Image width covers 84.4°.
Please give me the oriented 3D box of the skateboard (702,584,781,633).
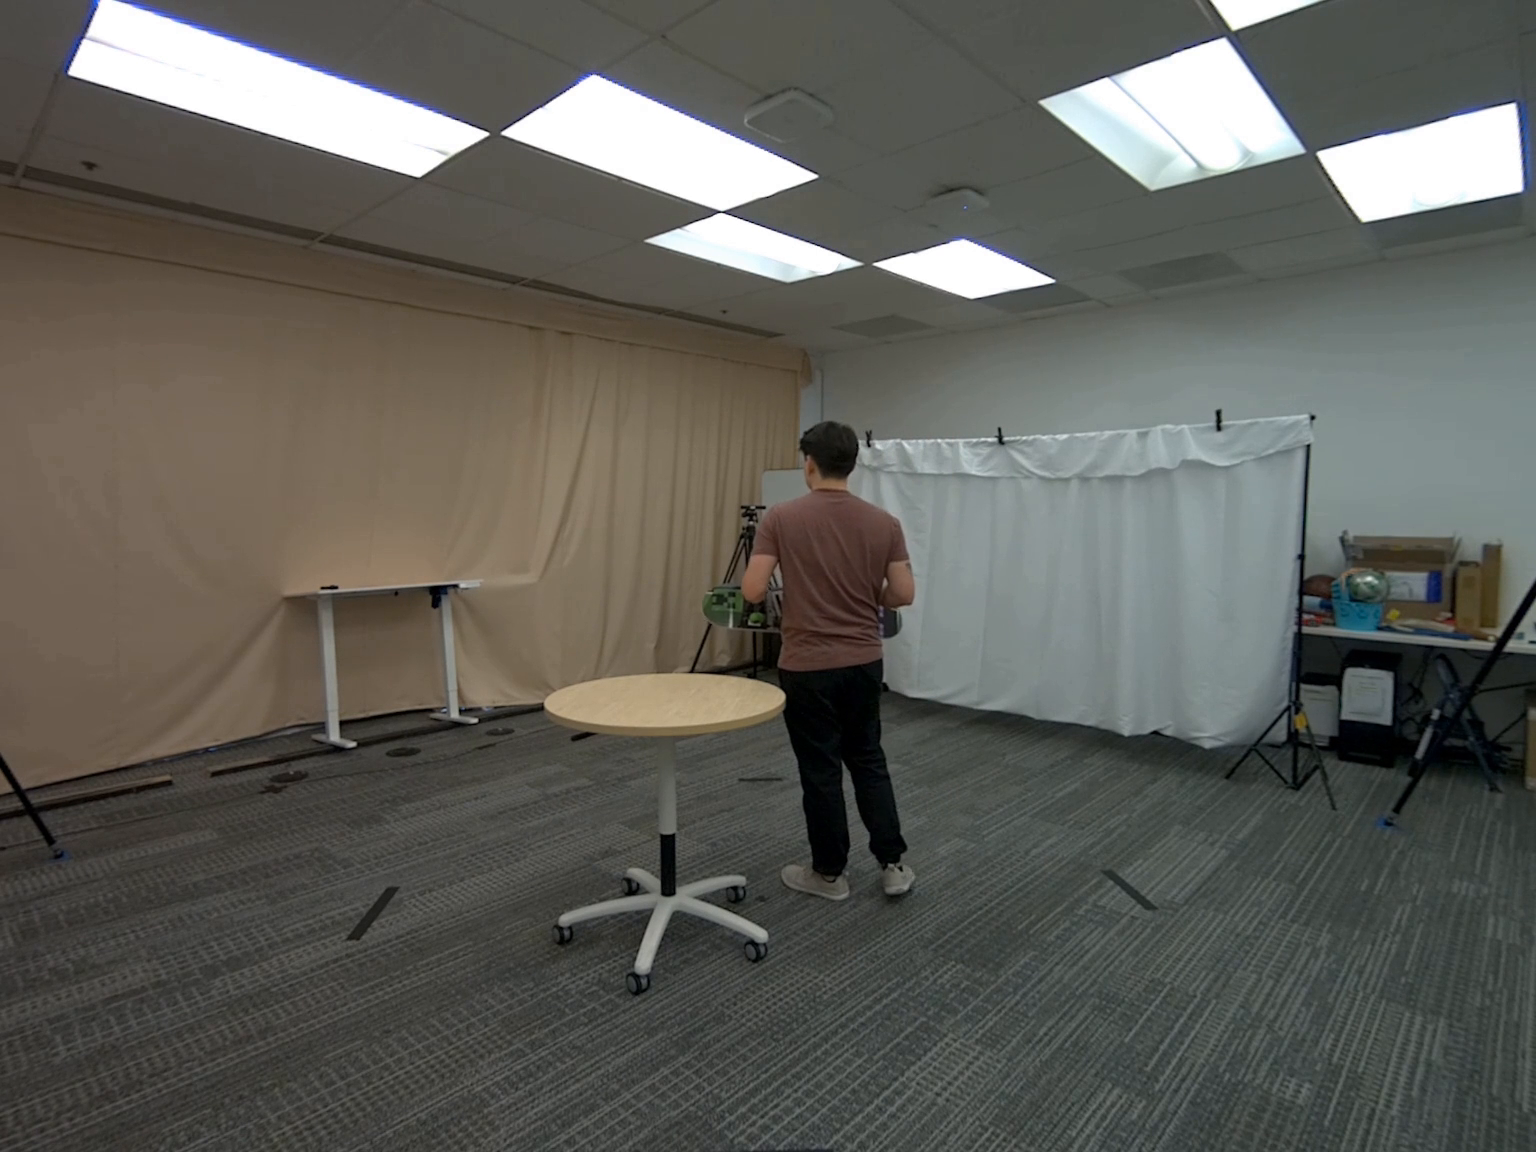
[{"bbox_3d":[0.158,0.131,3.191,0.780,0.196,0.109,5,-29,-6],"label":"skateboard"}]
